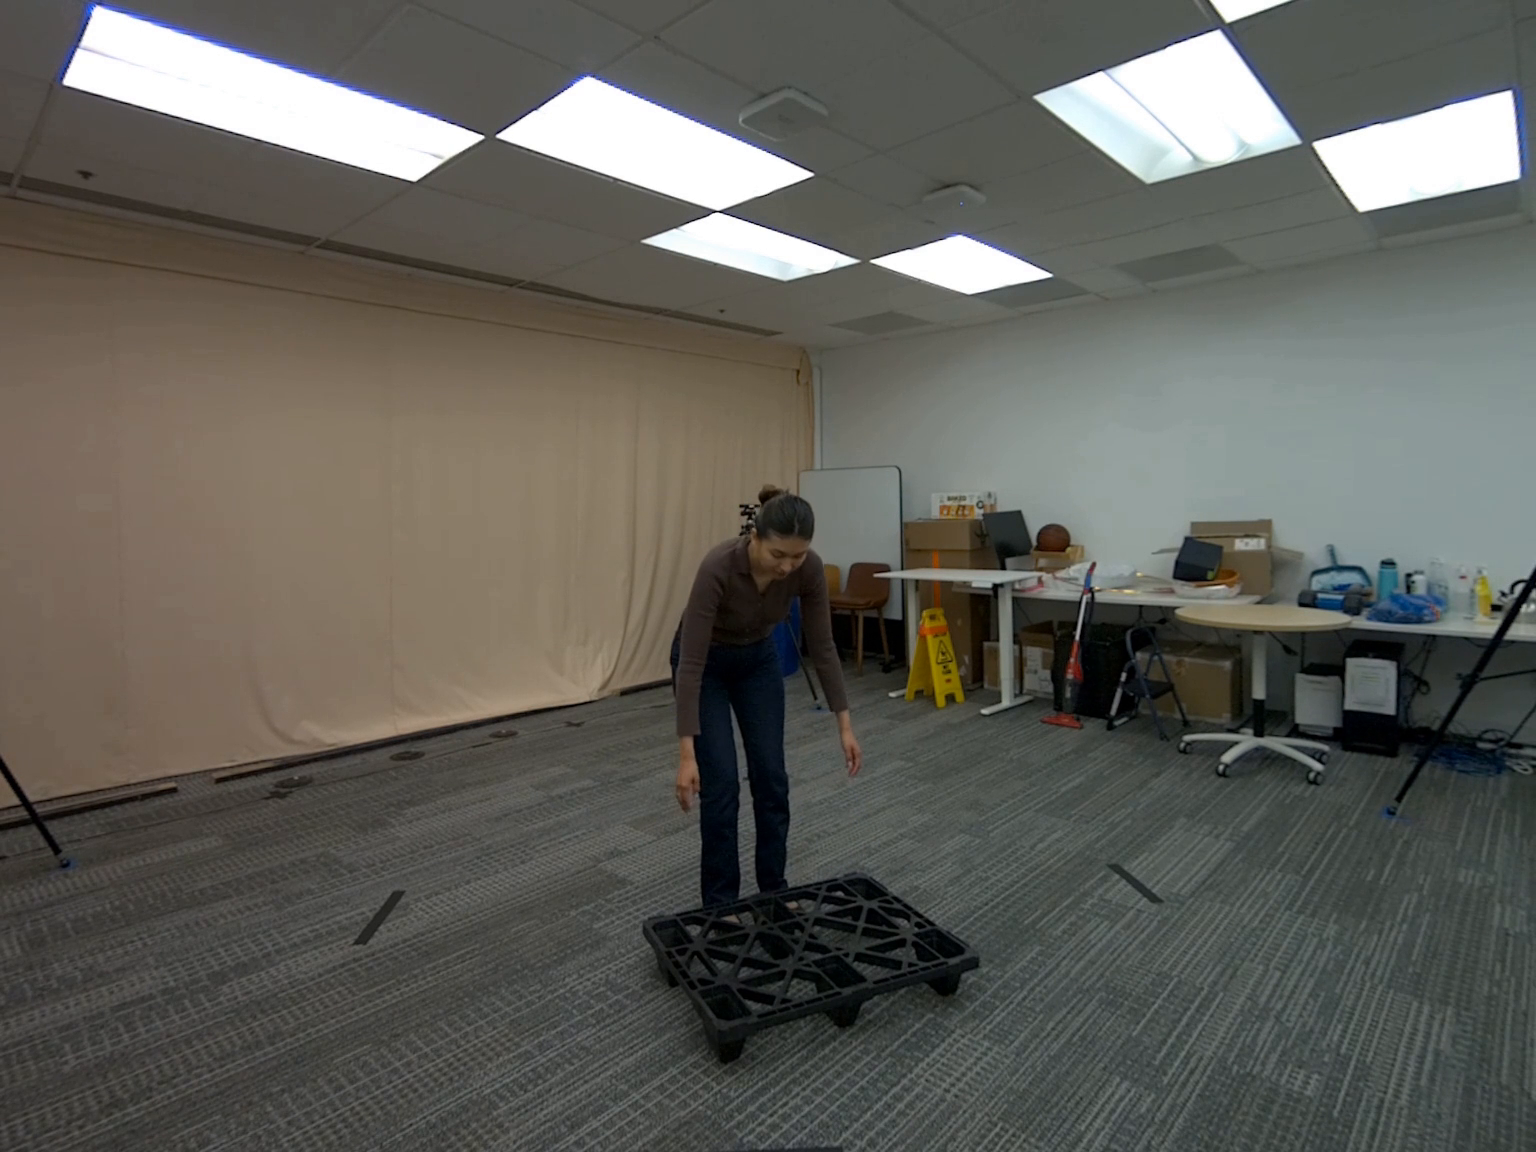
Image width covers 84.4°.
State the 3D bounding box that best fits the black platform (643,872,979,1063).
[{"bbox_3d":[0.107,1.119,2.450,0.787,0.143,0.621,-3,5,-25],"label":"black platform"}]
